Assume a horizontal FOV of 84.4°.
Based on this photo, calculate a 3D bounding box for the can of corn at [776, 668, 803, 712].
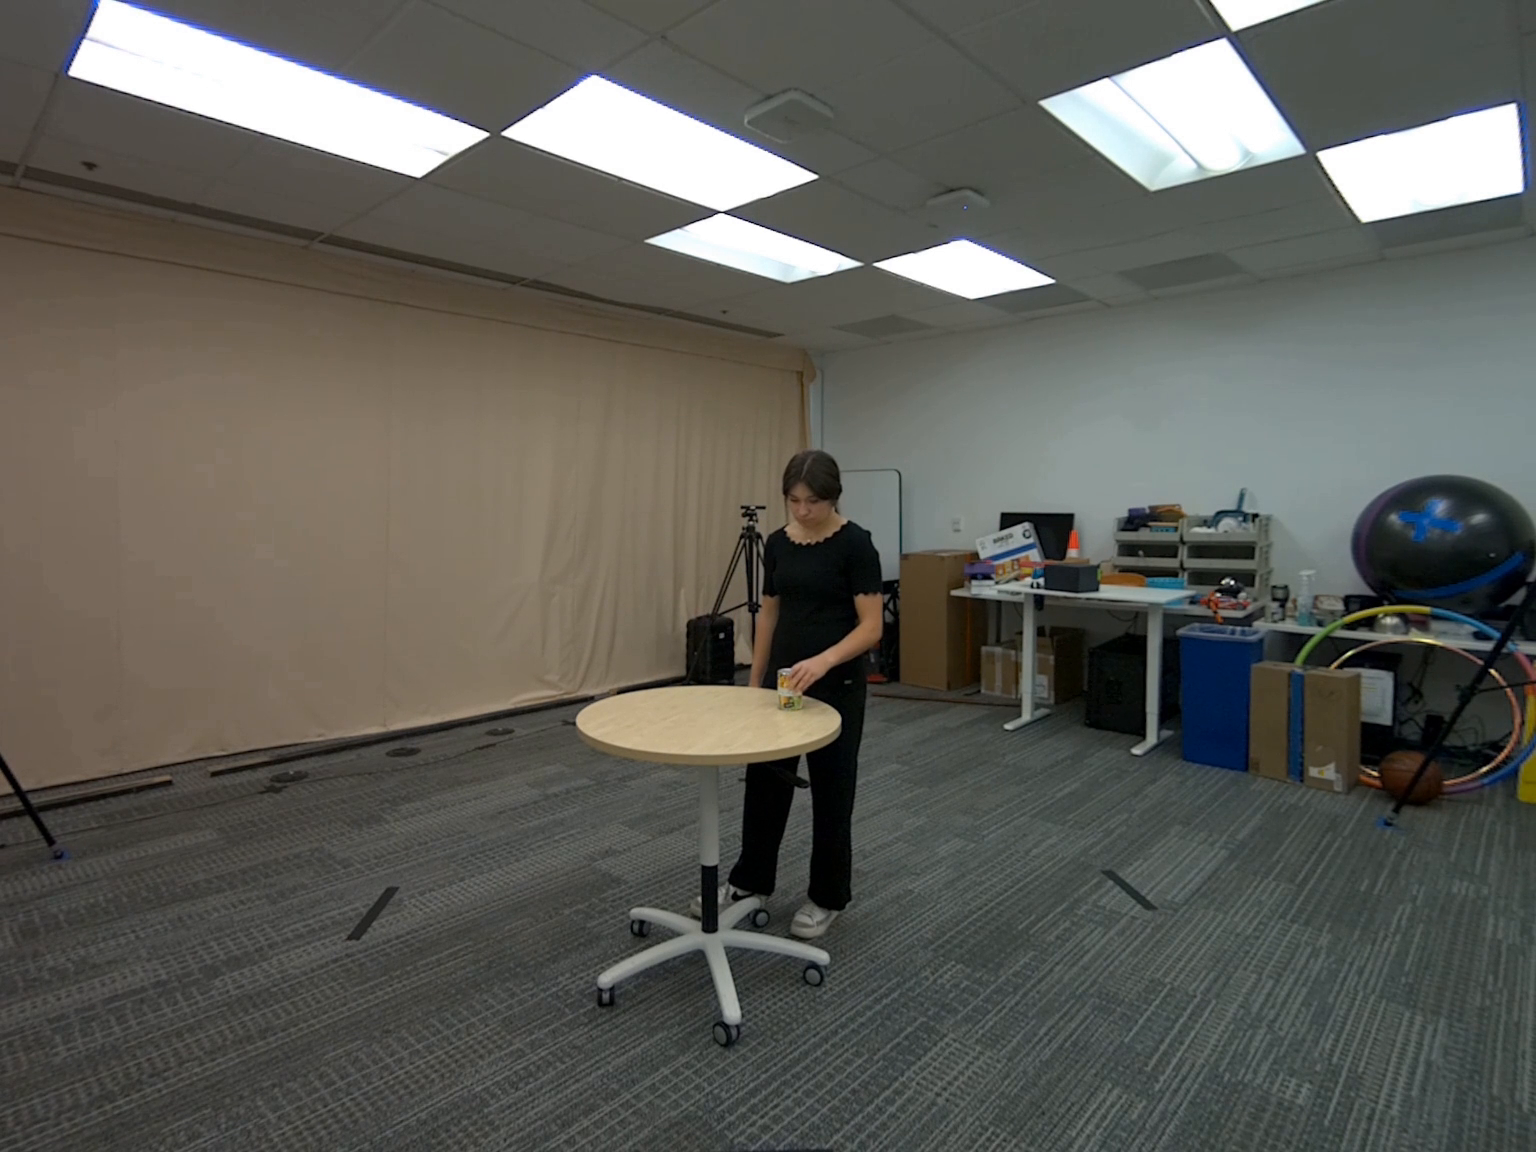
[{"bbox_3d":[0.058,0.341,2.529,0.074,0.111,0.074,2,3,-2],"label":"can of corn"}]
